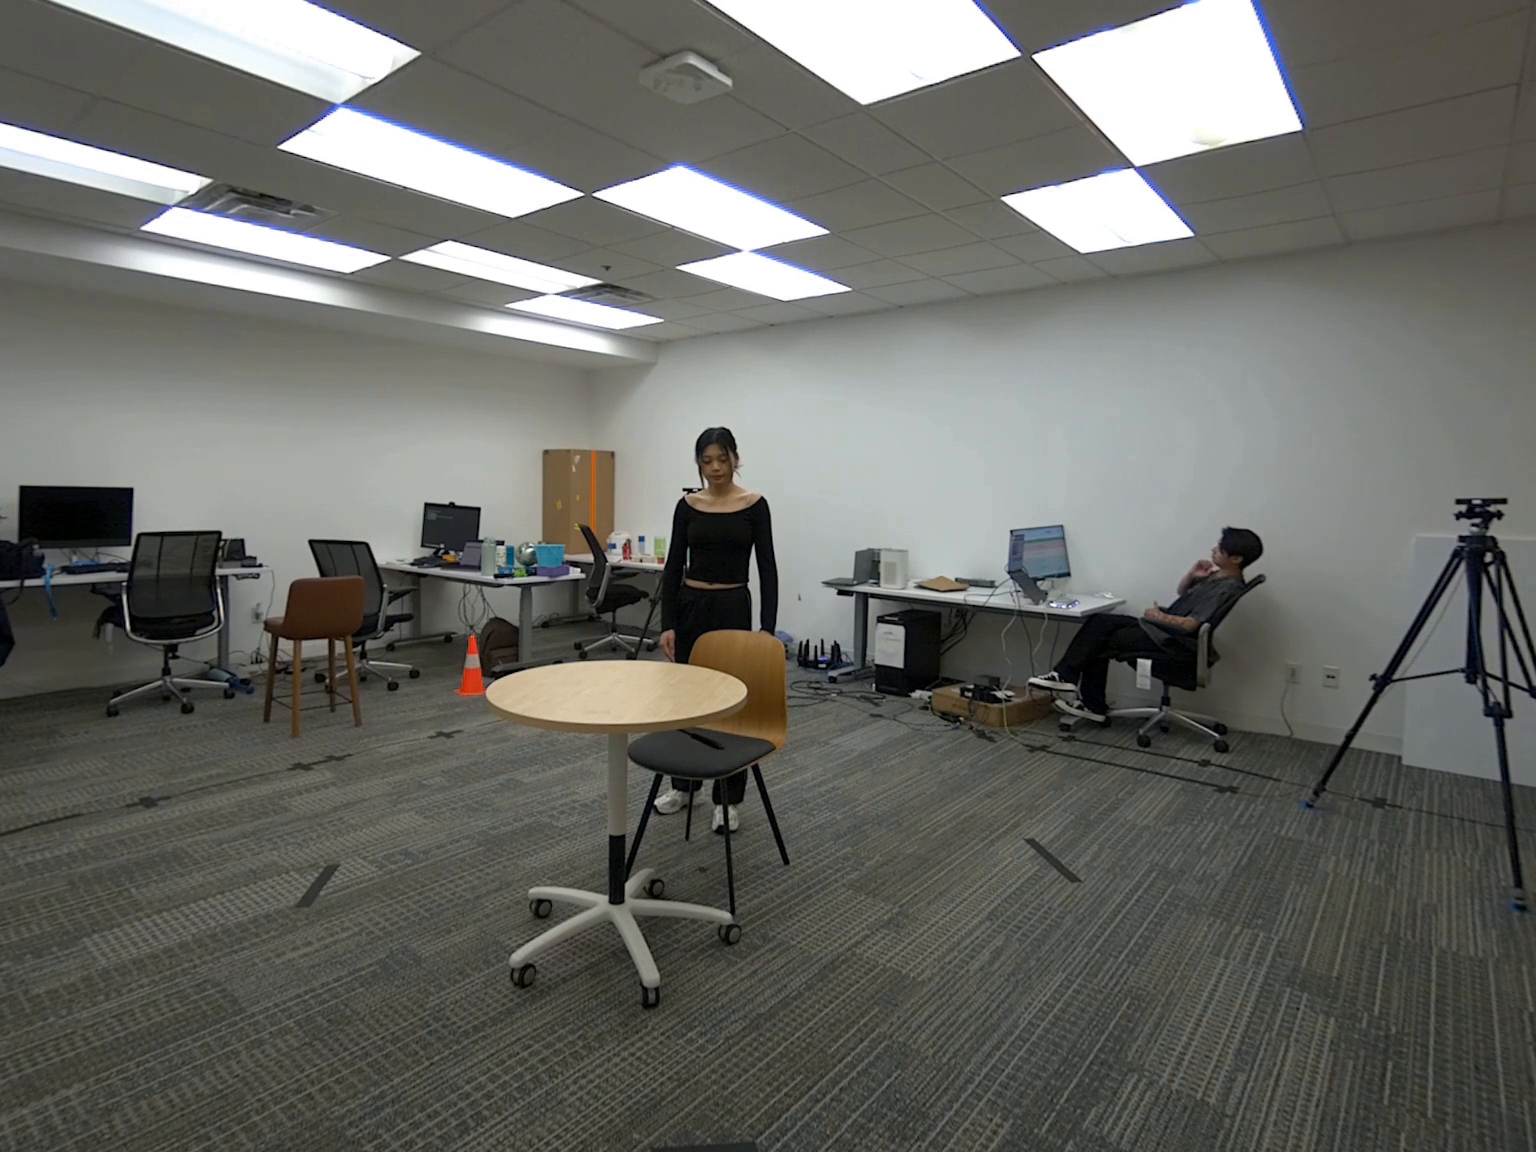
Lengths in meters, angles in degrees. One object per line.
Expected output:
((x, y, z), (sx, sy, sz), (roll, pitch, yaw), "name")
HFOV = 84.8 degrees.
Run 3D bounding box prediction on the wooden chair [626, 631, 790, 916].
((-0.217, 0.646, 3.045), (0.491, 0.878, 0.508), (3, -1, 27), "wooden chair")
